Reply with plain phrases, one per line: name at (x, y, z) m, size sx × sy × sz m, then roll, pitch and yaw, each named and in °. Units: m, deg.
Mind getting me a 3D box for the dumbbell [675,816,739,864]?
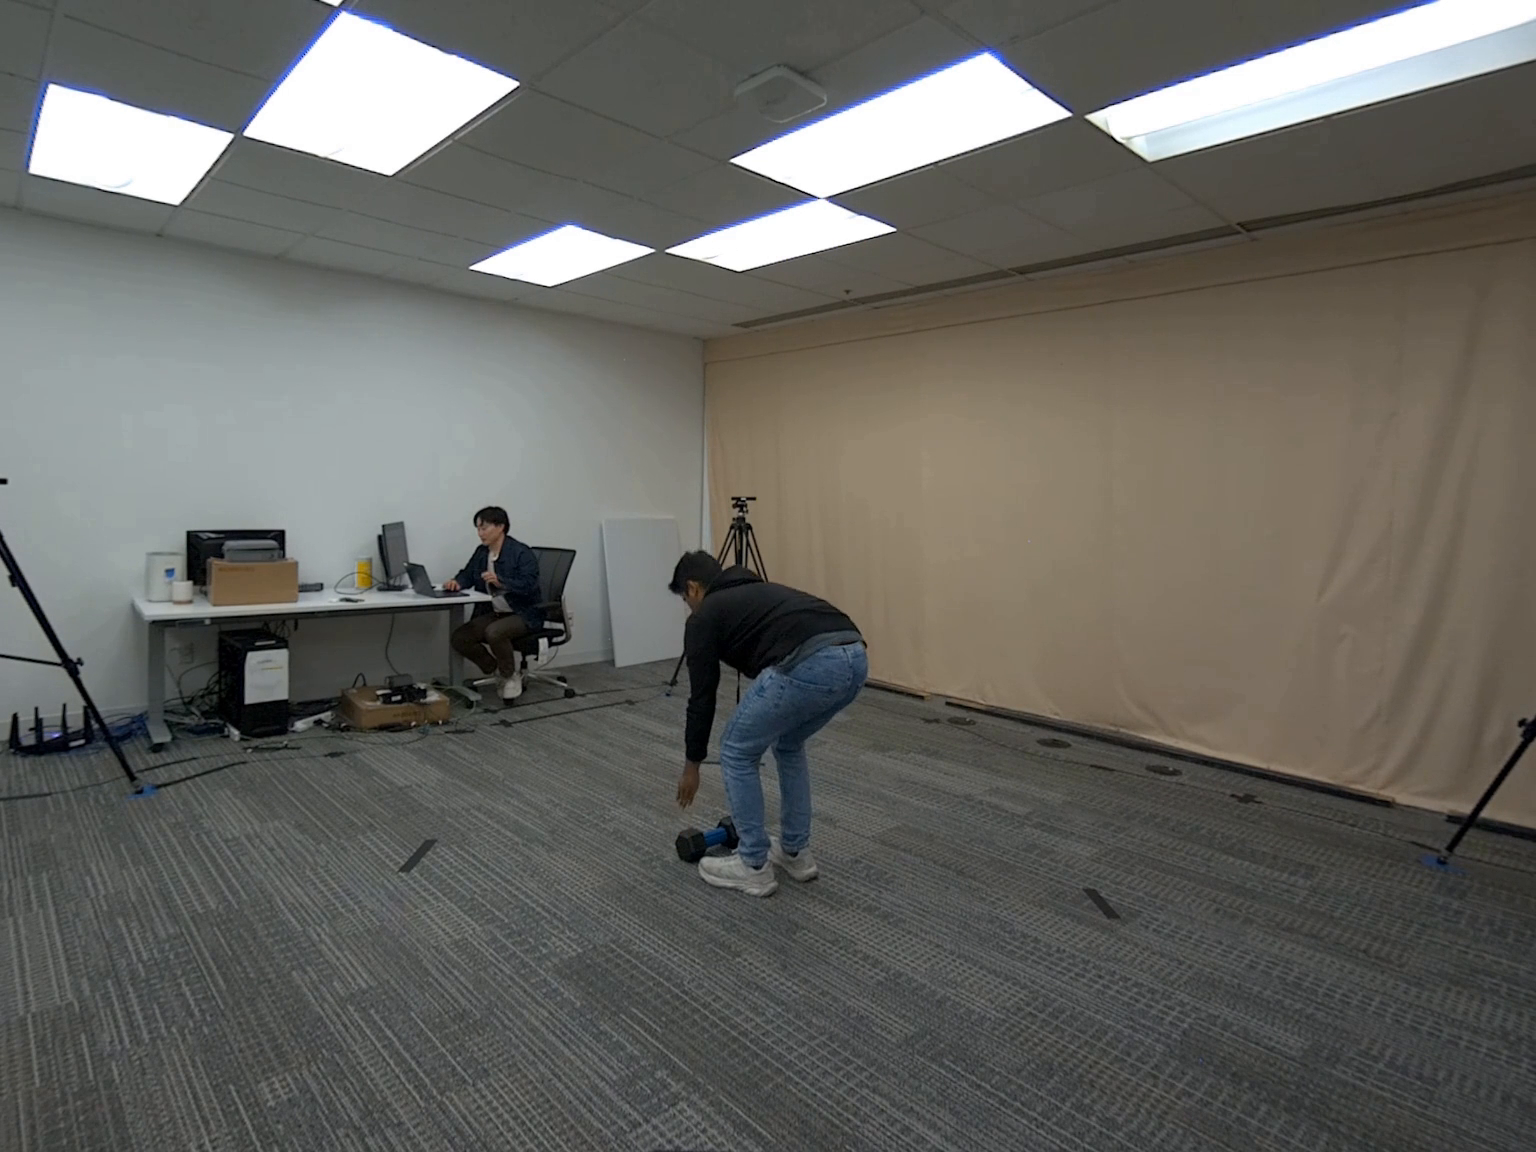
dumbbell at (-0.226, 1.030, 3.306) m, size 0.287 × 0.122 × 0.112 m, roll -4°, pitch 37°, yaw -45°
